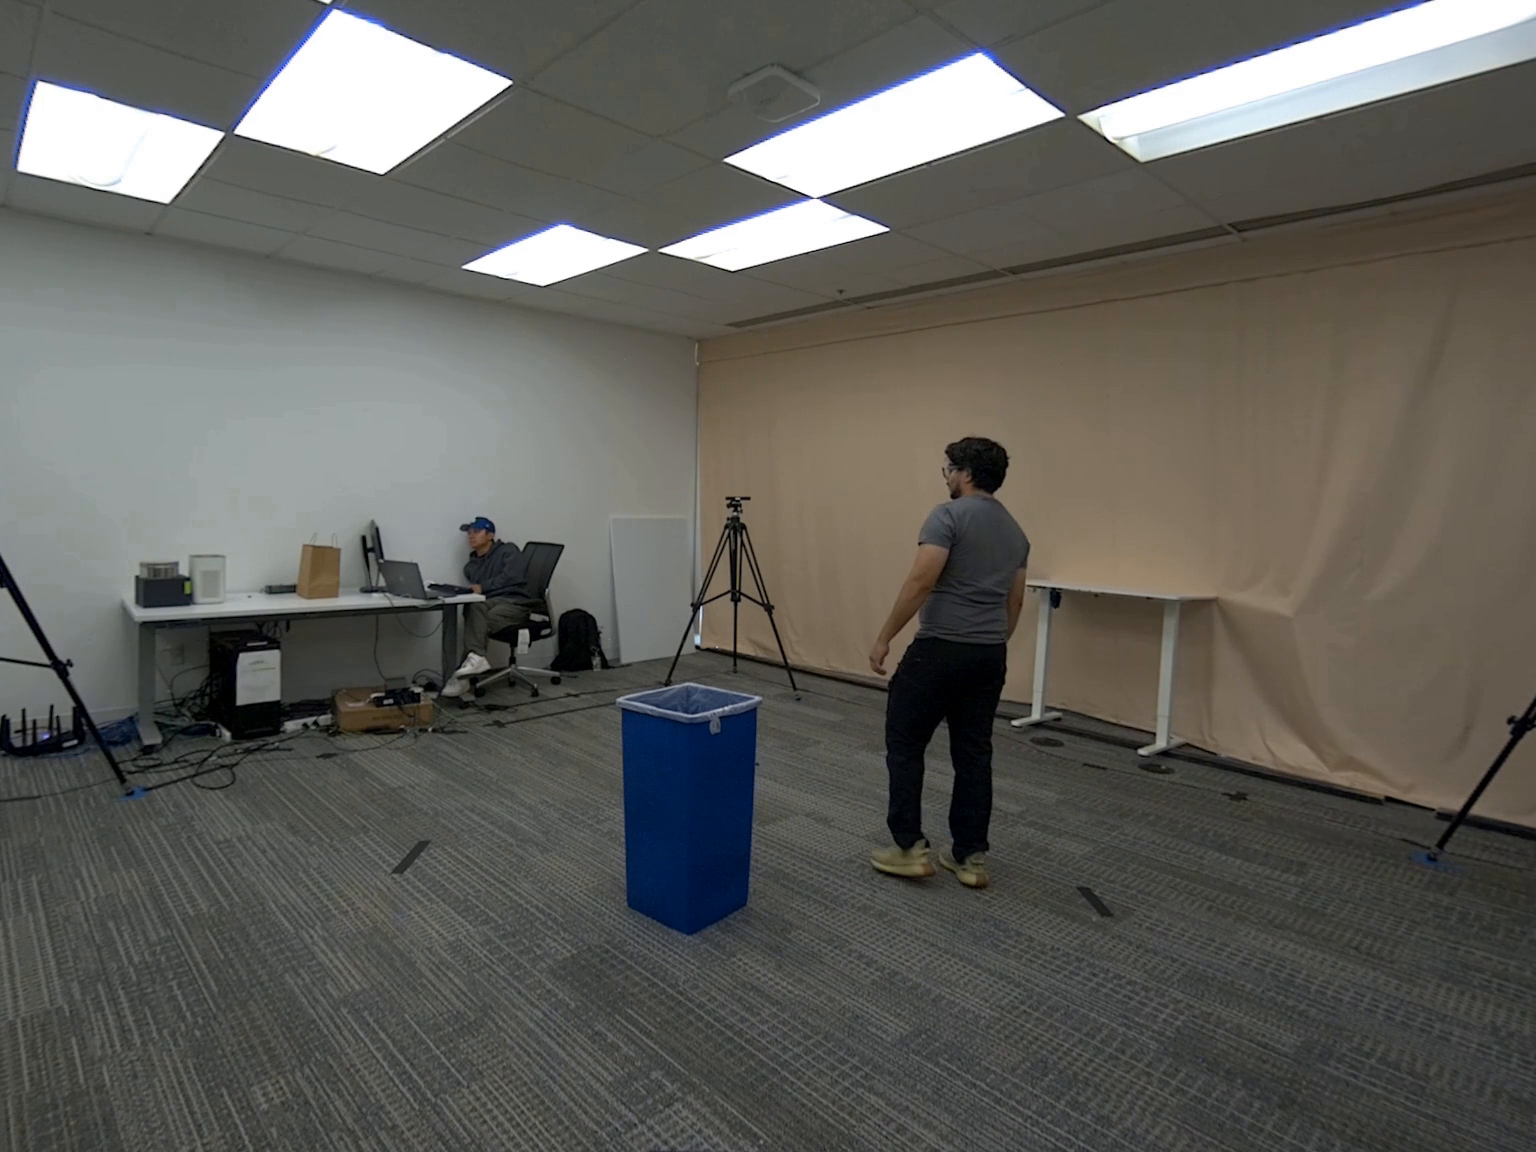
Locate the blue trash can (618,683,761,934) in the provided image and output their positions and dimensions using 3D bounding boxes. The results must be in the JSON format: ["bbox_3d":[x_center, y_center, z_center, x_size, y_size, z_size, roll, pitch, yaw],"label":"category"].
[{"bbox_3d":[-0.282,0.768,2.862,0.383,0.712,0.369,4,4,39],"label":"blue trash can"}]
